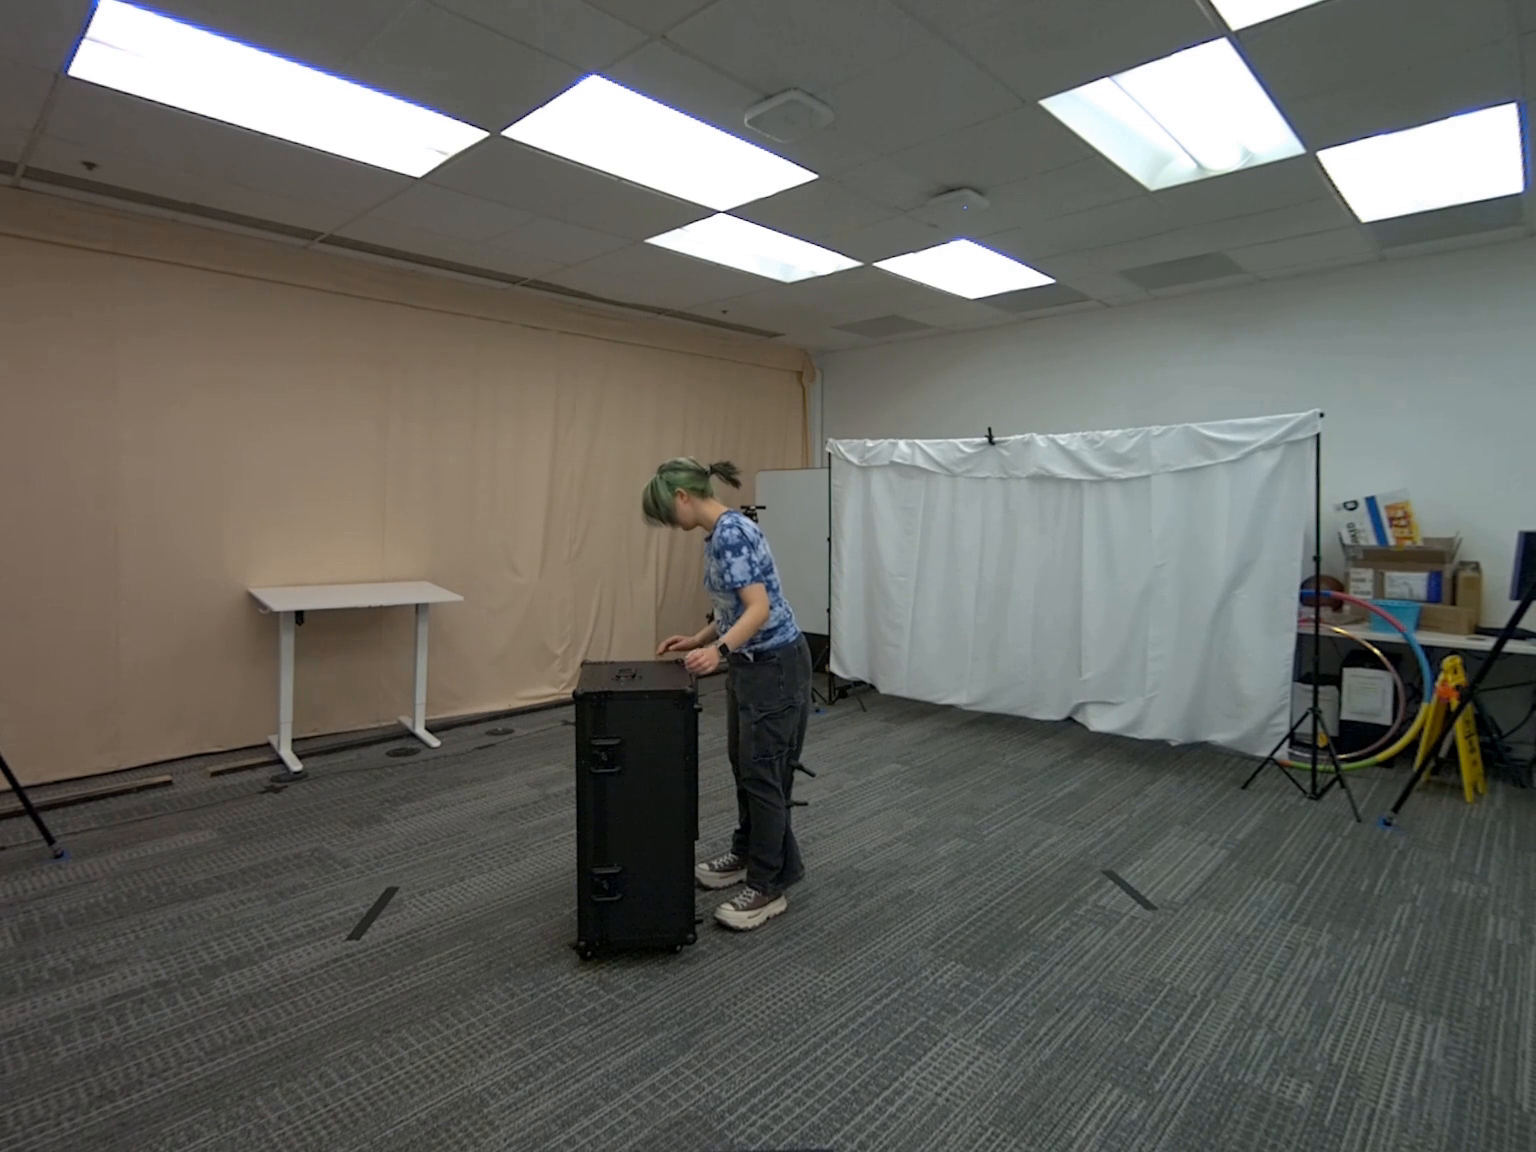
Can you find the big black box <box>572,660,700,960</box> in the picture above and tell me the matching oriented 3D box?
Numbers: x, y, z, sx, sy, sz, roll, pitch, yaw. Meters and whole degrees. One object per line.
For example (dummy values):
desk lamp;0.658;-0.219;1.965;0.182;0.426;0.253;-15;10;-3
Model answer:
big black box;-0.428;0.749;2.742;0.394;0.860;0.525;0;2;-7
